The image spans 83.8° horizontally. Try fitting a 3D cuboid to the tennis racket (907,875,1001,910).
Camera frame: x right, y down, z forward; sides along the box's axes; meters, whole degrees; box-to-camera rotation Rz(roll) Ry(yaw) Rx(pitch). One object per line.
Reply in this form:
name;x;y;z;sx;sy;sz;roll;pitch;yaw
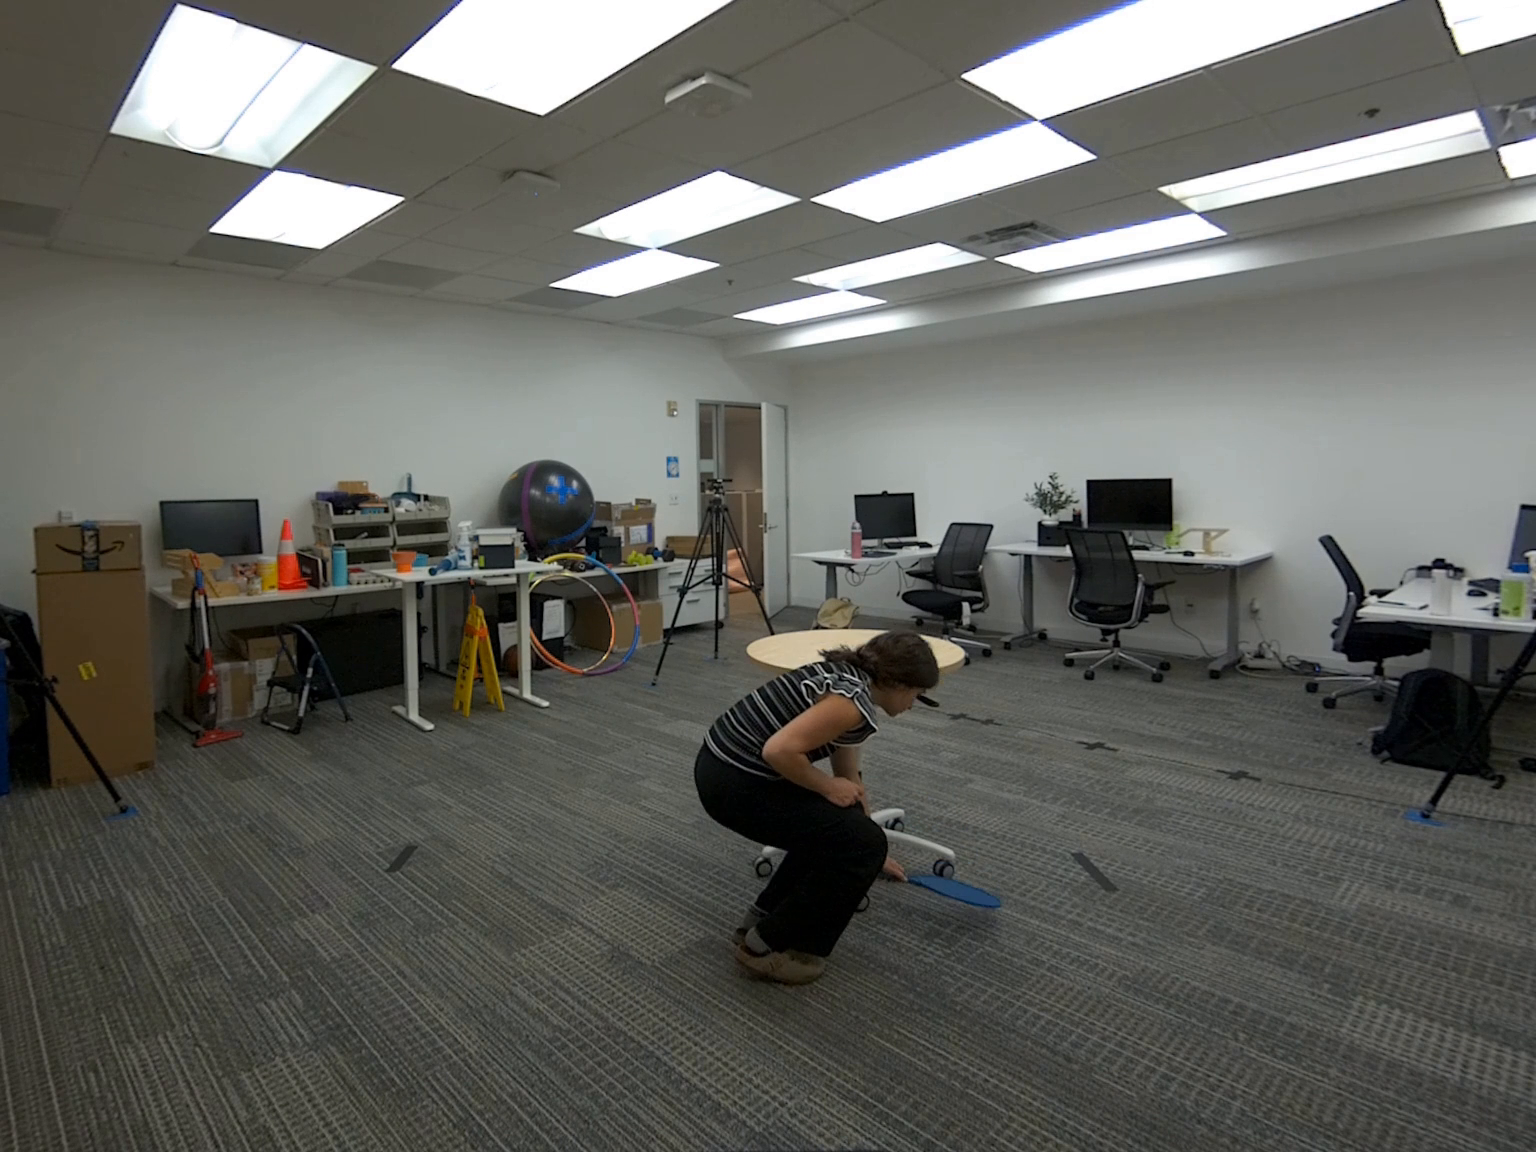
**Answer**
tennis racket;0.515;0.957;2.689;0.434;0.032;0.213;14;-2;1
